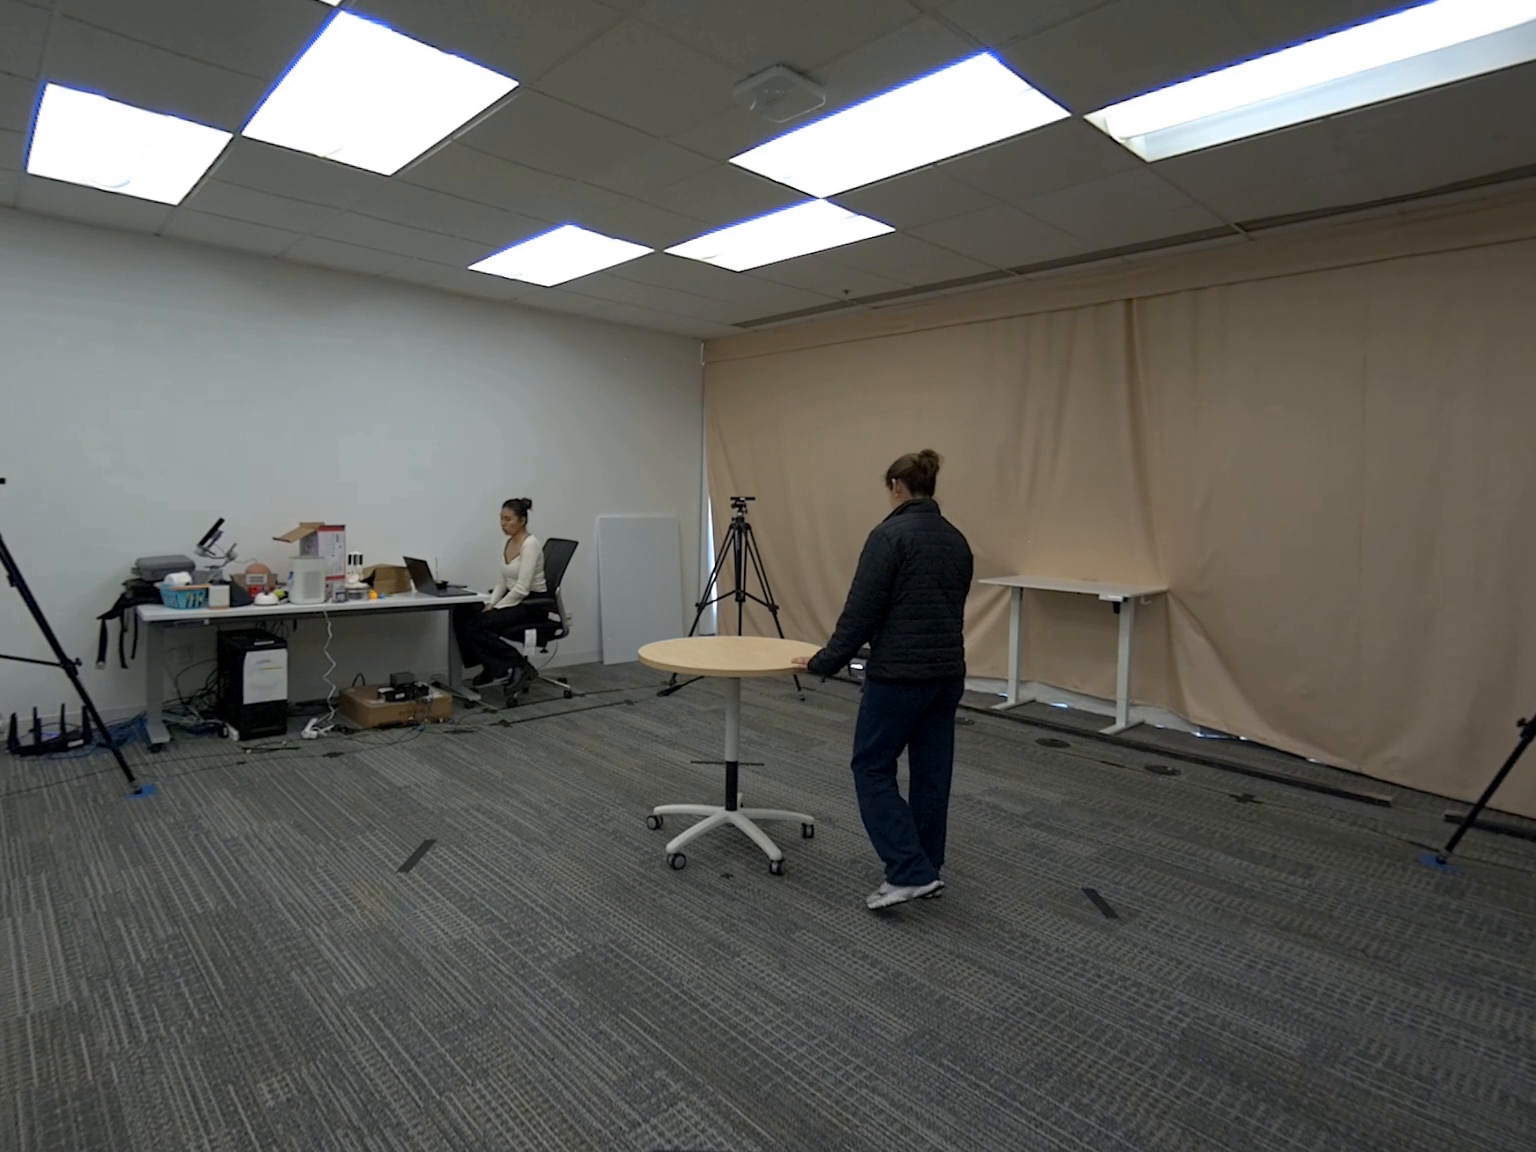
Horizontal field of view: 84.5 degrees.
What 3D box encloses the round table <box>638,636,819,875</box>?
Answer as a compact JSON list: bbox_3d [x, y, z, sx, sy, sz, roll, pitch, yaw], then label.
[{"bbox_3d":[-0.135,0.689,3.371,0.784,0.785,0.787,1,4,-1],"label":"round table"}]
